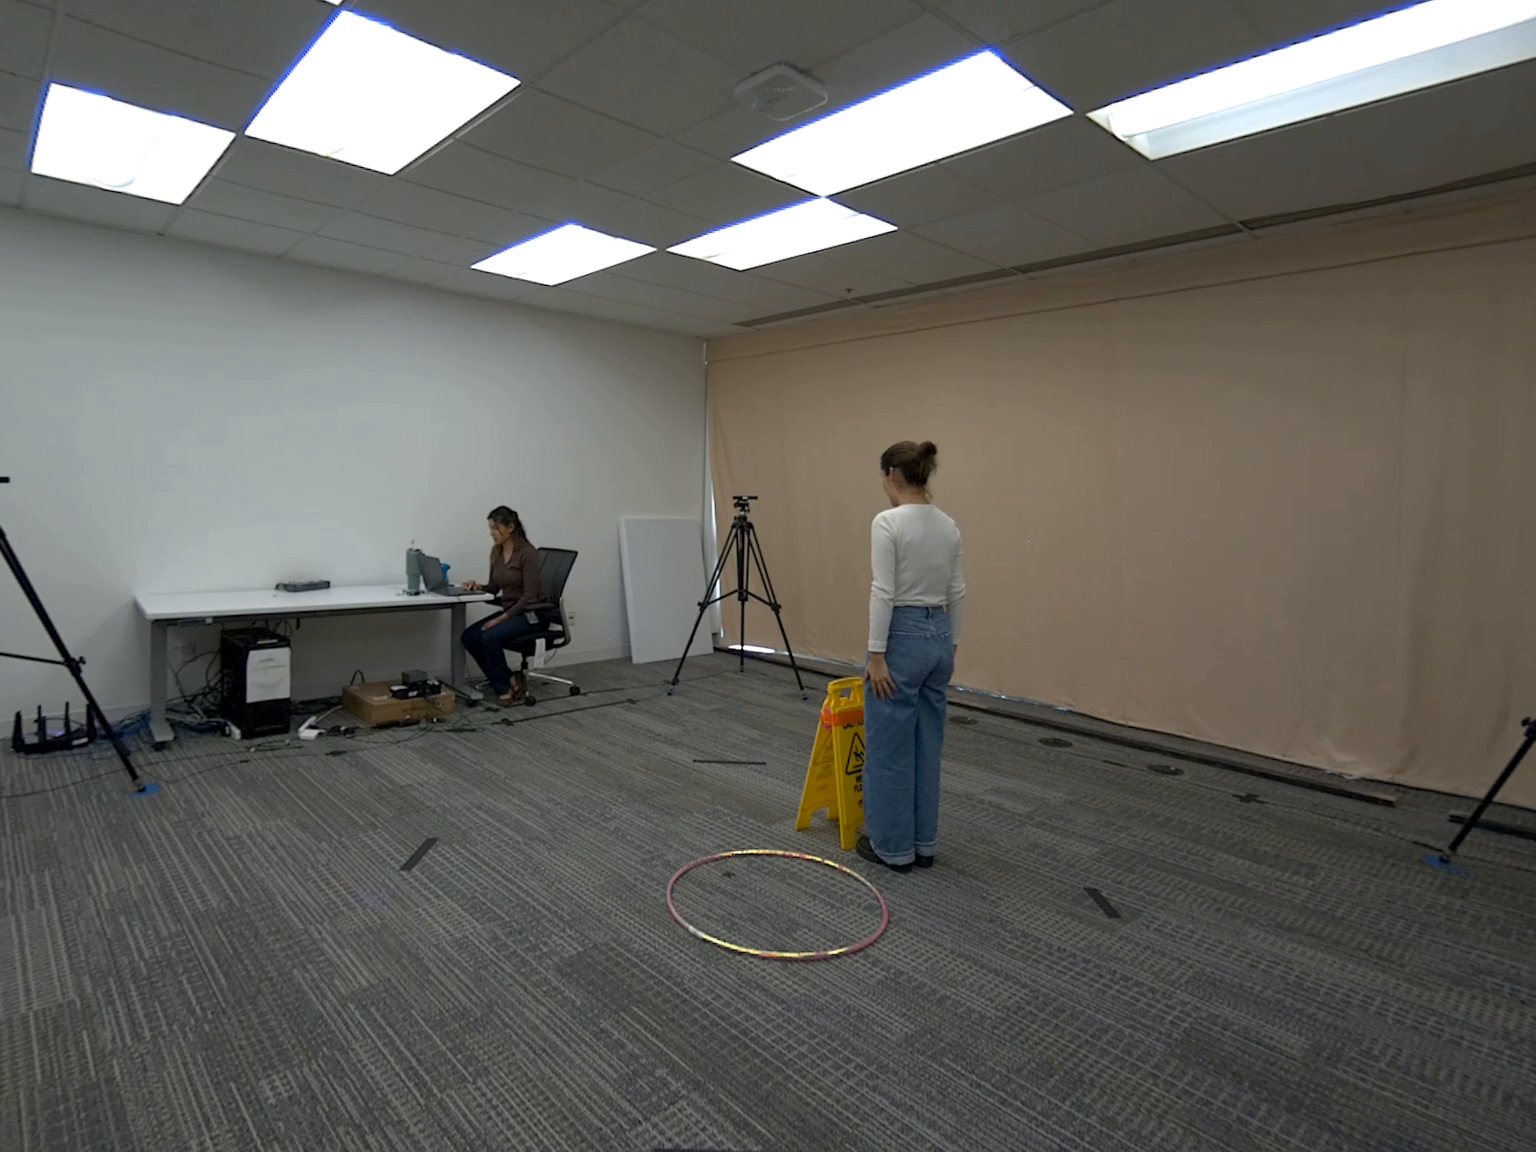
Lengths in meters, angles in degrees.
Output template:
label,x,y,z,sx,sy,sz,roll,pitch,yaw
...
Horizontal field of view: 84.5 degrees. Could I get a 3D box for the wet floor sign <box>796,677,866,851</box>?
label,x,y,z,sx,sy,sz,roll,pitch,yaw
wet floor sign,0.307,0.753,3.519,0.275,0.645,0.297,0,3,-43
